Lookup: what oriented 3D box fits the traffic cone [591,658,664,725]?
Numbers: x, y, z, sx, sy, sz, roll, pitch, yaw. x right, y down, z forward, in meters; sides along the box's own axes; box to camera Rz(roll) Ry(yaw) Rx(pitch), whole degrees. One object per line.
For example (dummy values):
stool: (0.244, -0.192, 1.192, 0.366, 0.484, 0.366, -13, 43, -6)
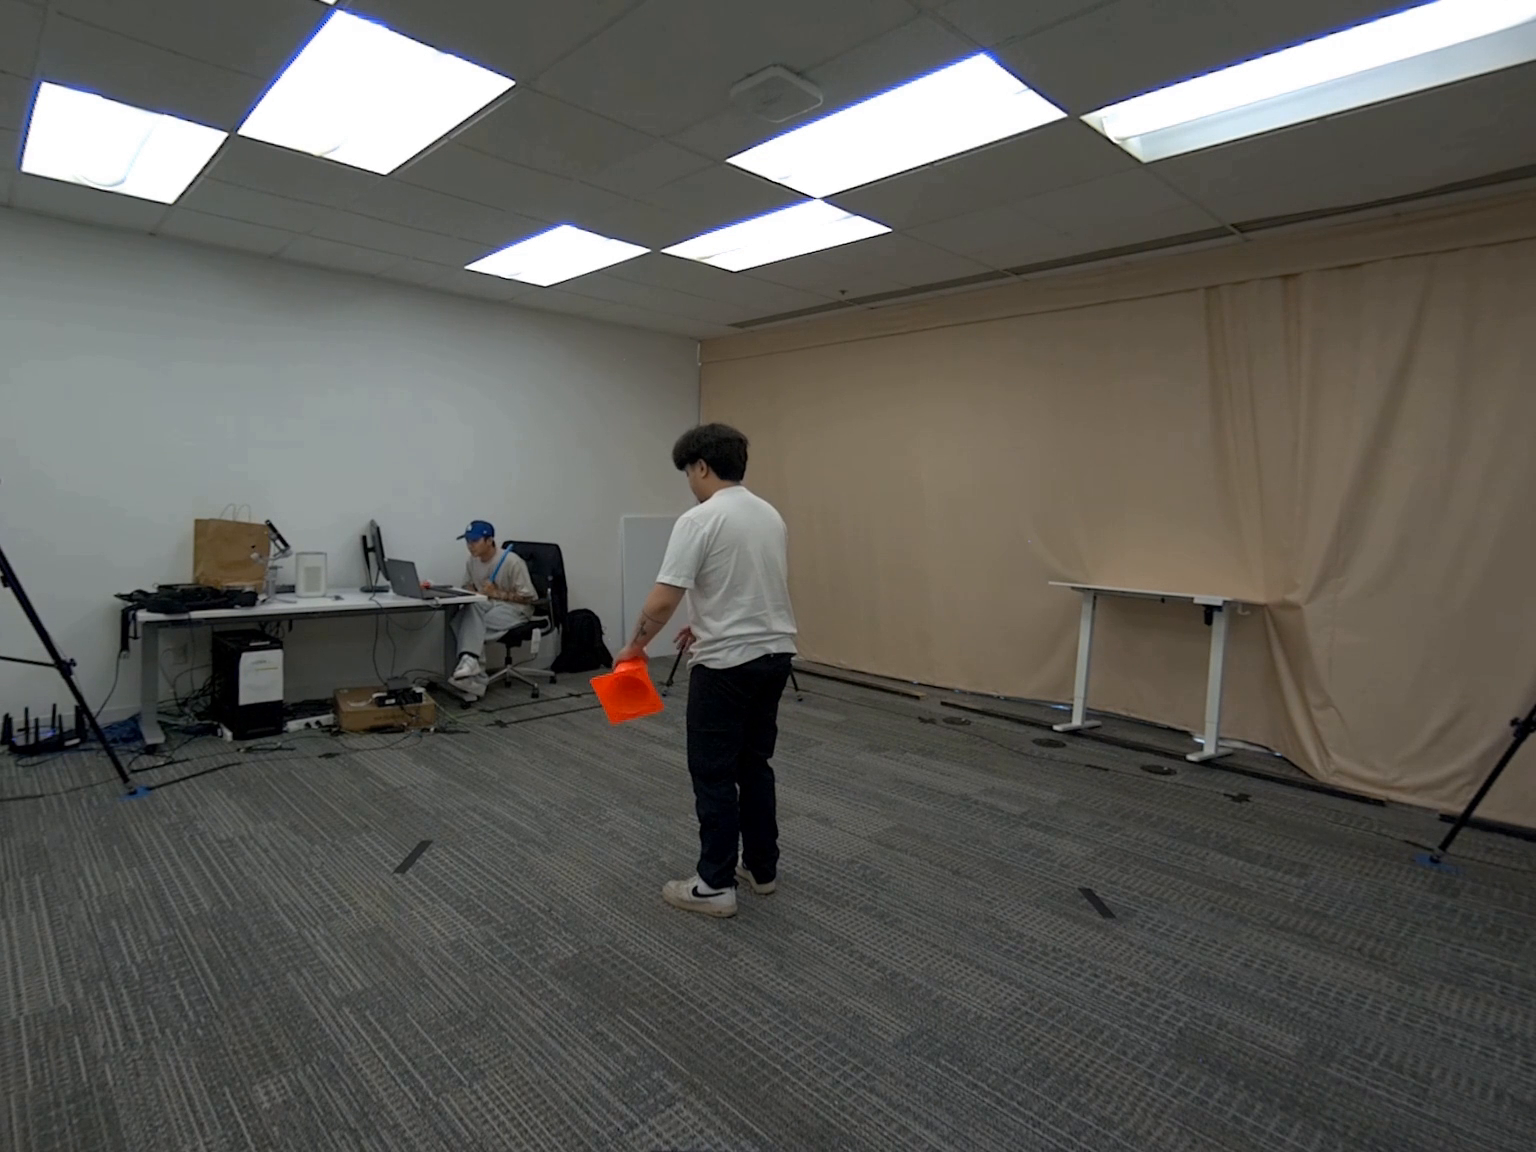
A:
traffic cone: (-0.480, 0.314, 3.016, 0.205, 0.200, 0.389, -16, 25, 11)
